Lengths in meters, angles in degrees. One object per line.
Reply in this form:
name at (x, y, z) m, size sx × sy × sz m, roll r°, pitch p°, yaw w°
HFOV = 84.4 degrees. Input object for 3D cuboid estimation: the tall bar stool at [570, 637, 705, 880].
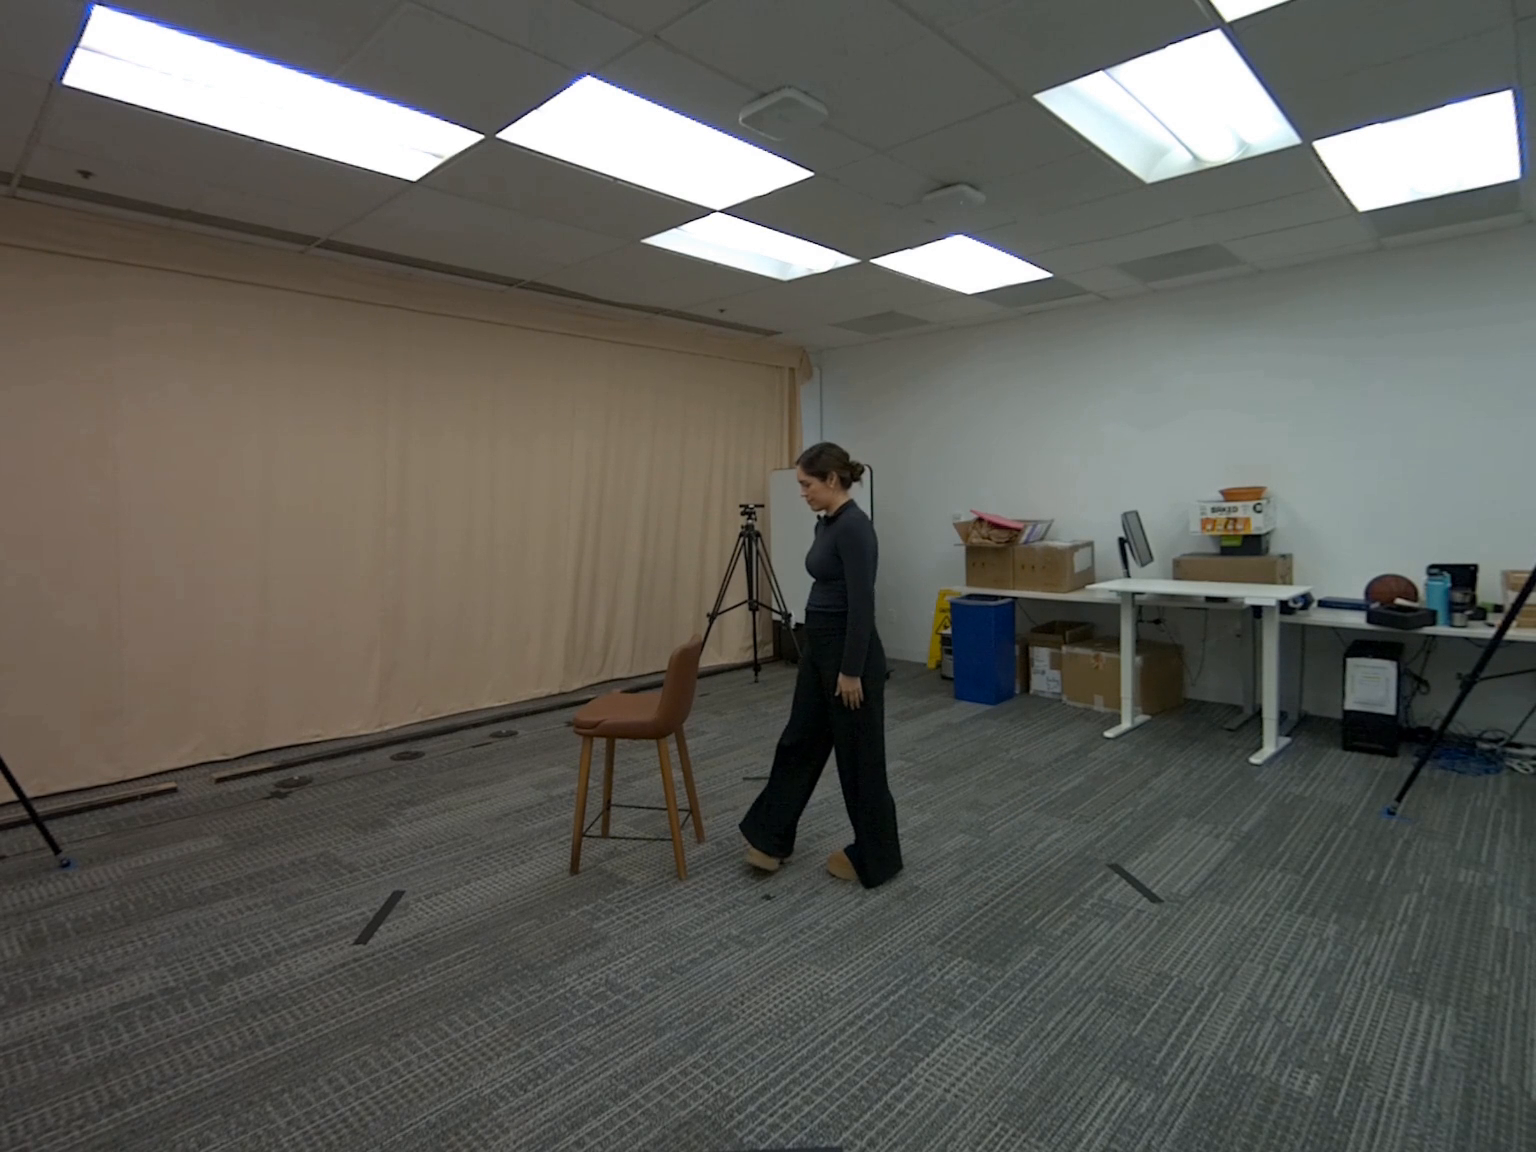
tall bar stool at (-0.509, 0.686, 3.342) m, size 0.473 × 0.888 × 0.452 m, roll 1°, pitch 4°, yaw 10°
